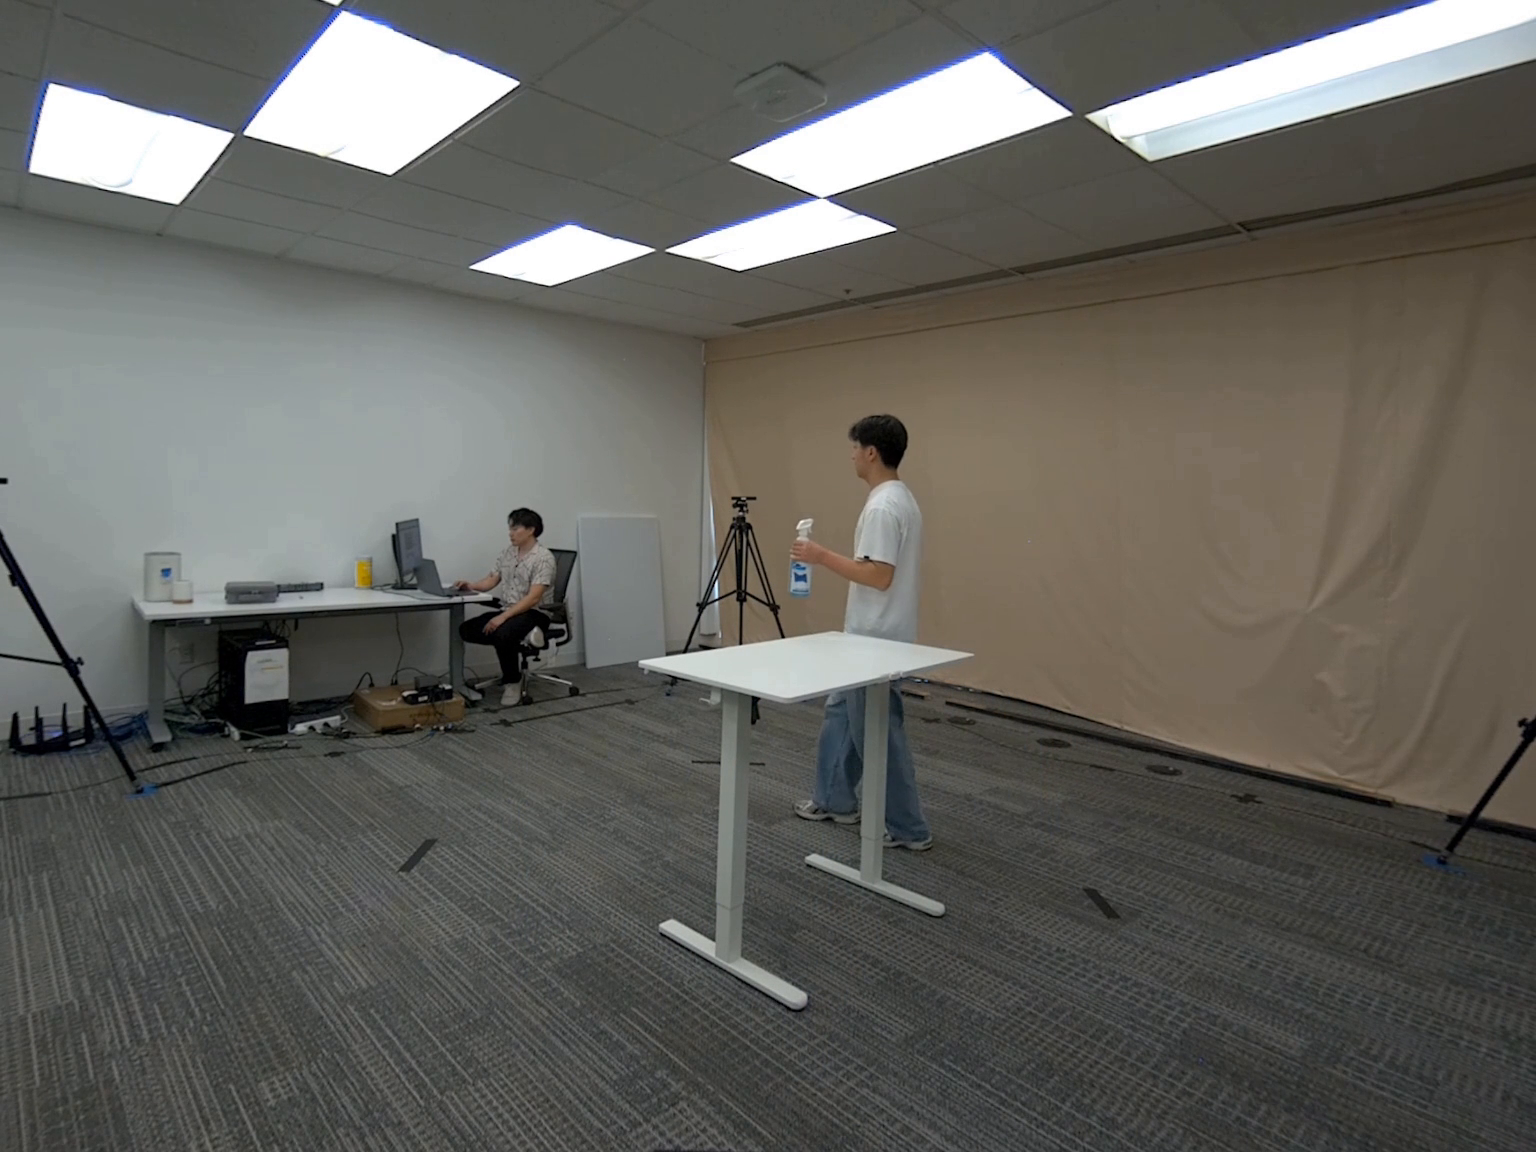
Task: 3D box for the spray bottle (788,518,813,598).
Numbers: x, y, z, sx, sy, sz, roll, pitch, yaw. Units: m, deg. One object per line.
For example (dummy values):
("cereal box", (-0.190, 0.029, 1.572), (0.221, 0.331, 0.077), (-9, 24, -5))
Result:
("spray bottle", (0.130, -0.071, 3.275), (0.088, 0.295, 0.089), (1, 13, -25))
